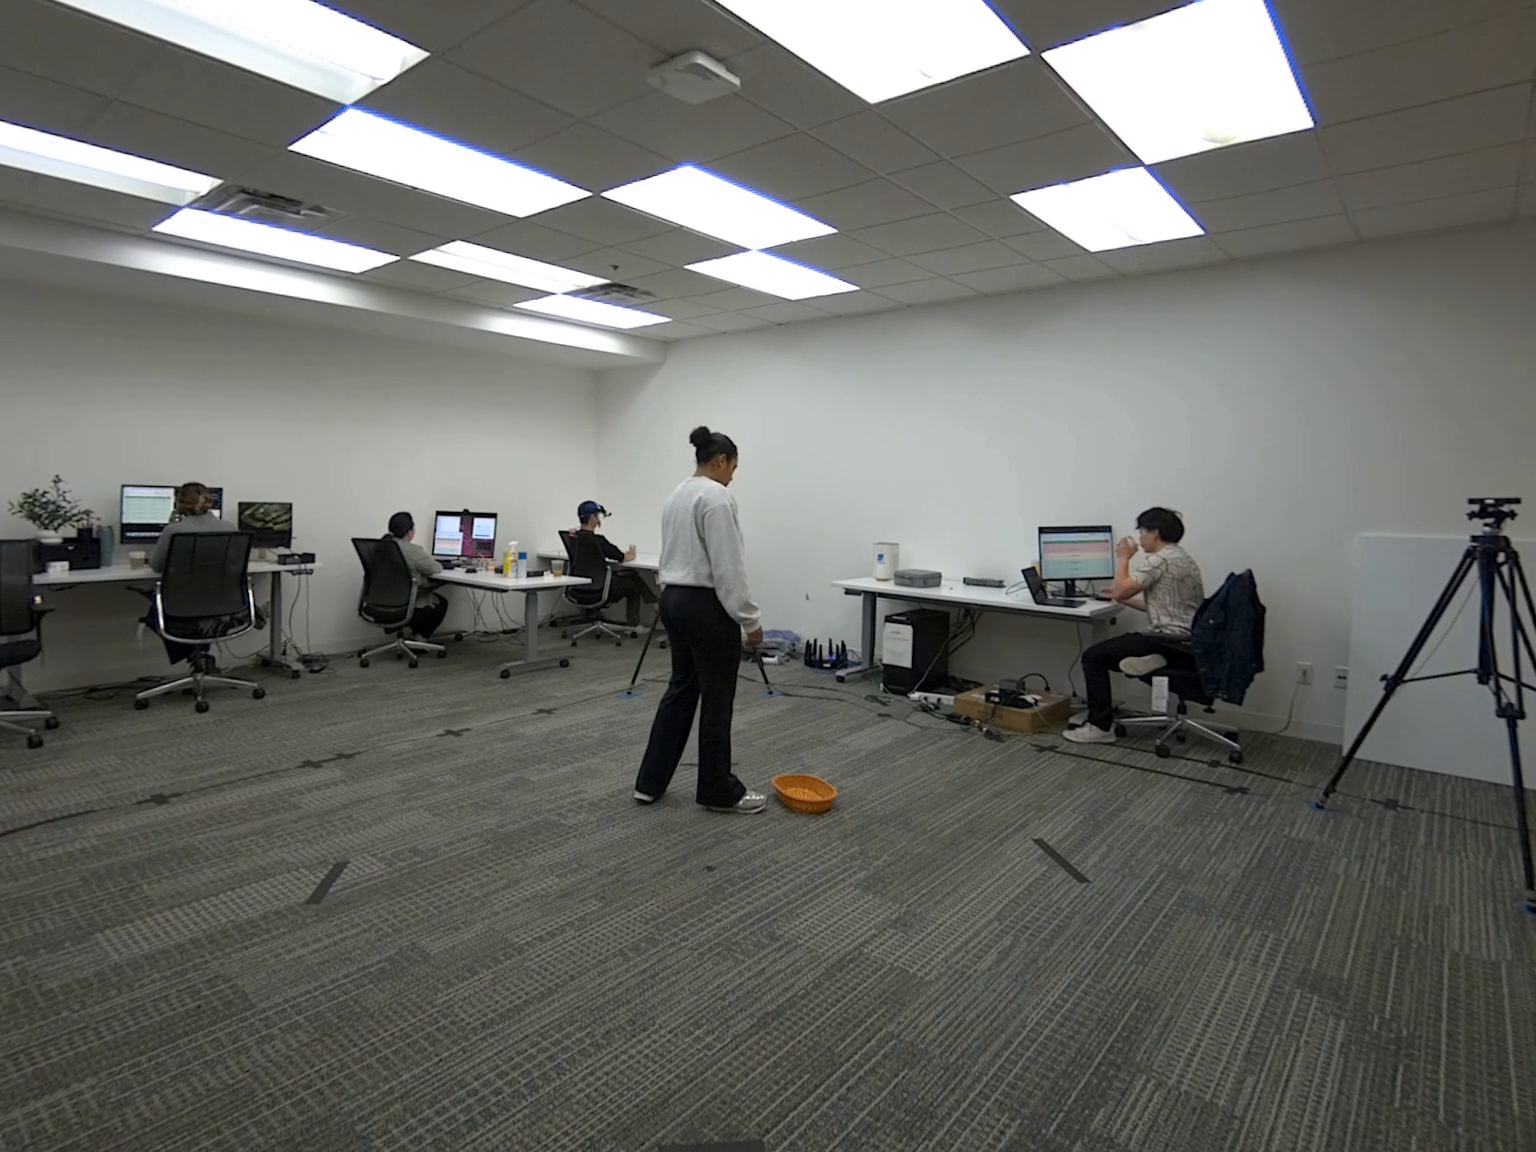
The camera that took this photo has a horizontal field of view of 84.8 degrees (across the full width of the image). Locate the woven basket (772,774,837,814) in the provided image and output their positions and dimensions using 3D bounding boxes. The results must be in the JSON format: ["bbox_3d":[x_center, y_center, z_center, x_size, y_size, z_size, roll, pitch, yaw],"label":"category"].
[{"bbox_3d":[0.149,0.971,3.795,0.247,0.073,0.359,-1,6,-22],"label":"woven basket"}]
